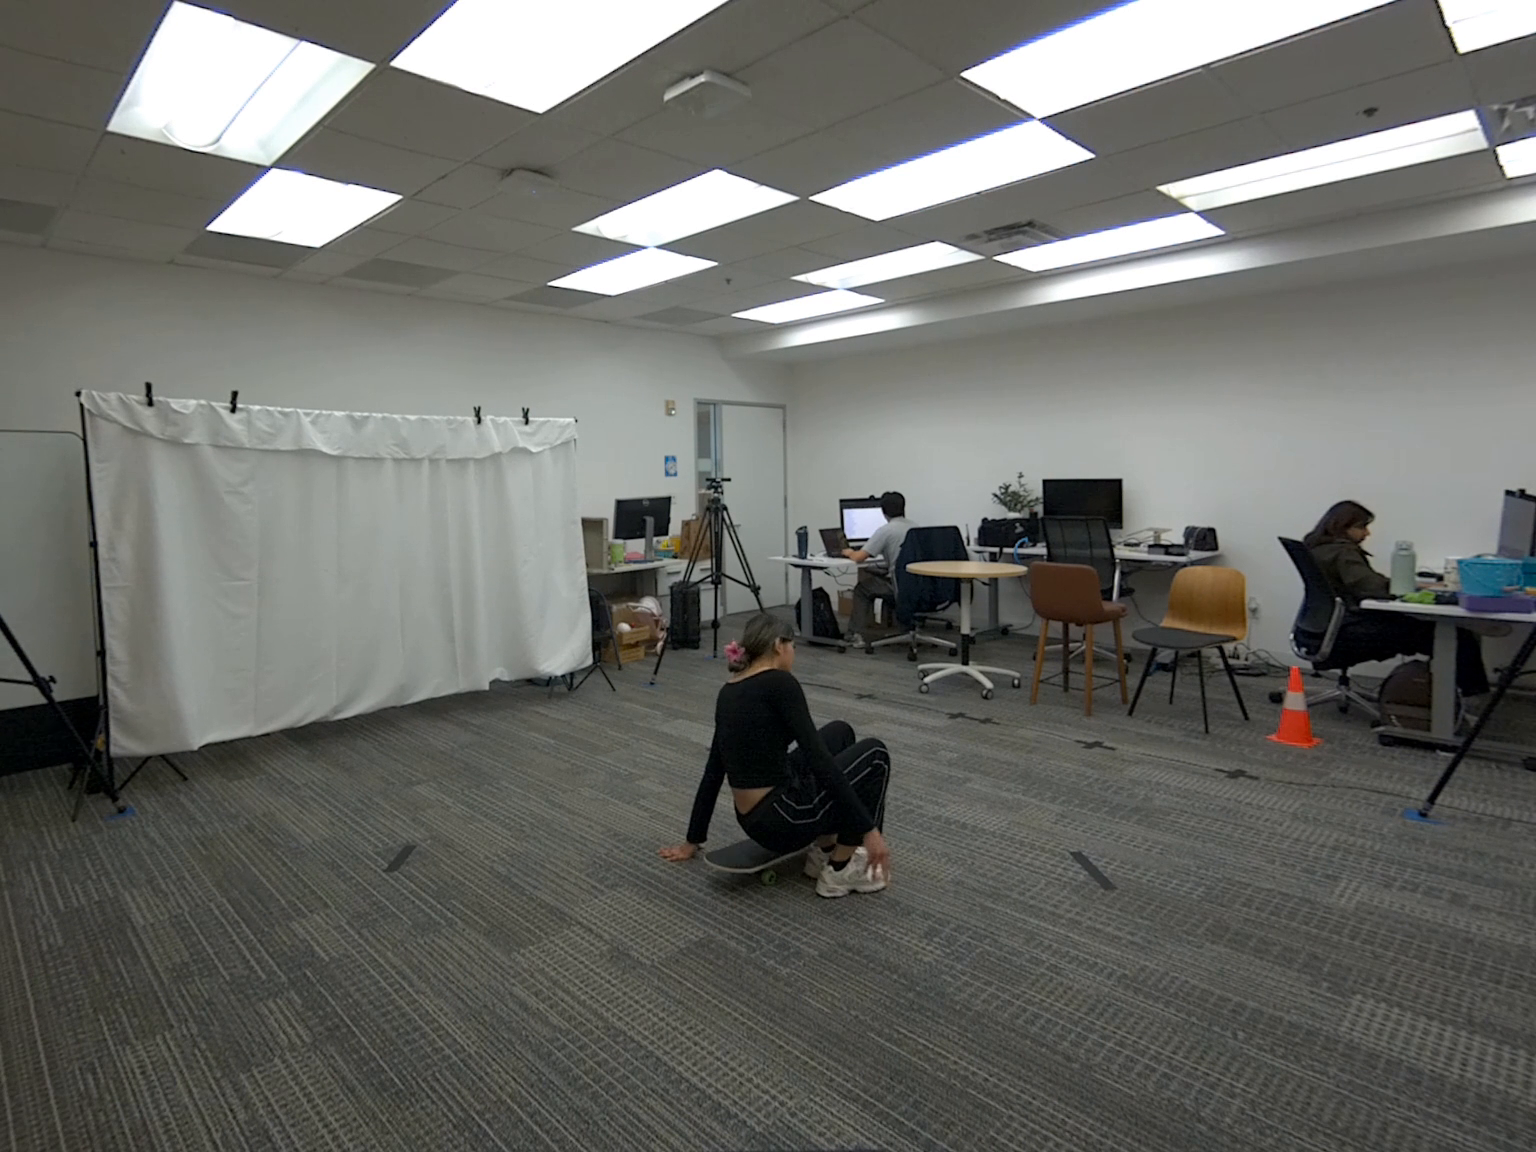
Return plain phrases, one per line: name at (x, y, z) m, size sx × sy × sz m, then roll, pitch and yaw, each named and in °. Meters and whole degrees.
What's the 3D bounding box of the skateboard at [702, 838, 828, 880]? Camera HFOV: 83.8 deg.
skateboard at (0.102, 0.976, 3.116) m, size 0.765 × 0.110 × 0.199 m, roll -7°, pitch 8°, yaw -42°
